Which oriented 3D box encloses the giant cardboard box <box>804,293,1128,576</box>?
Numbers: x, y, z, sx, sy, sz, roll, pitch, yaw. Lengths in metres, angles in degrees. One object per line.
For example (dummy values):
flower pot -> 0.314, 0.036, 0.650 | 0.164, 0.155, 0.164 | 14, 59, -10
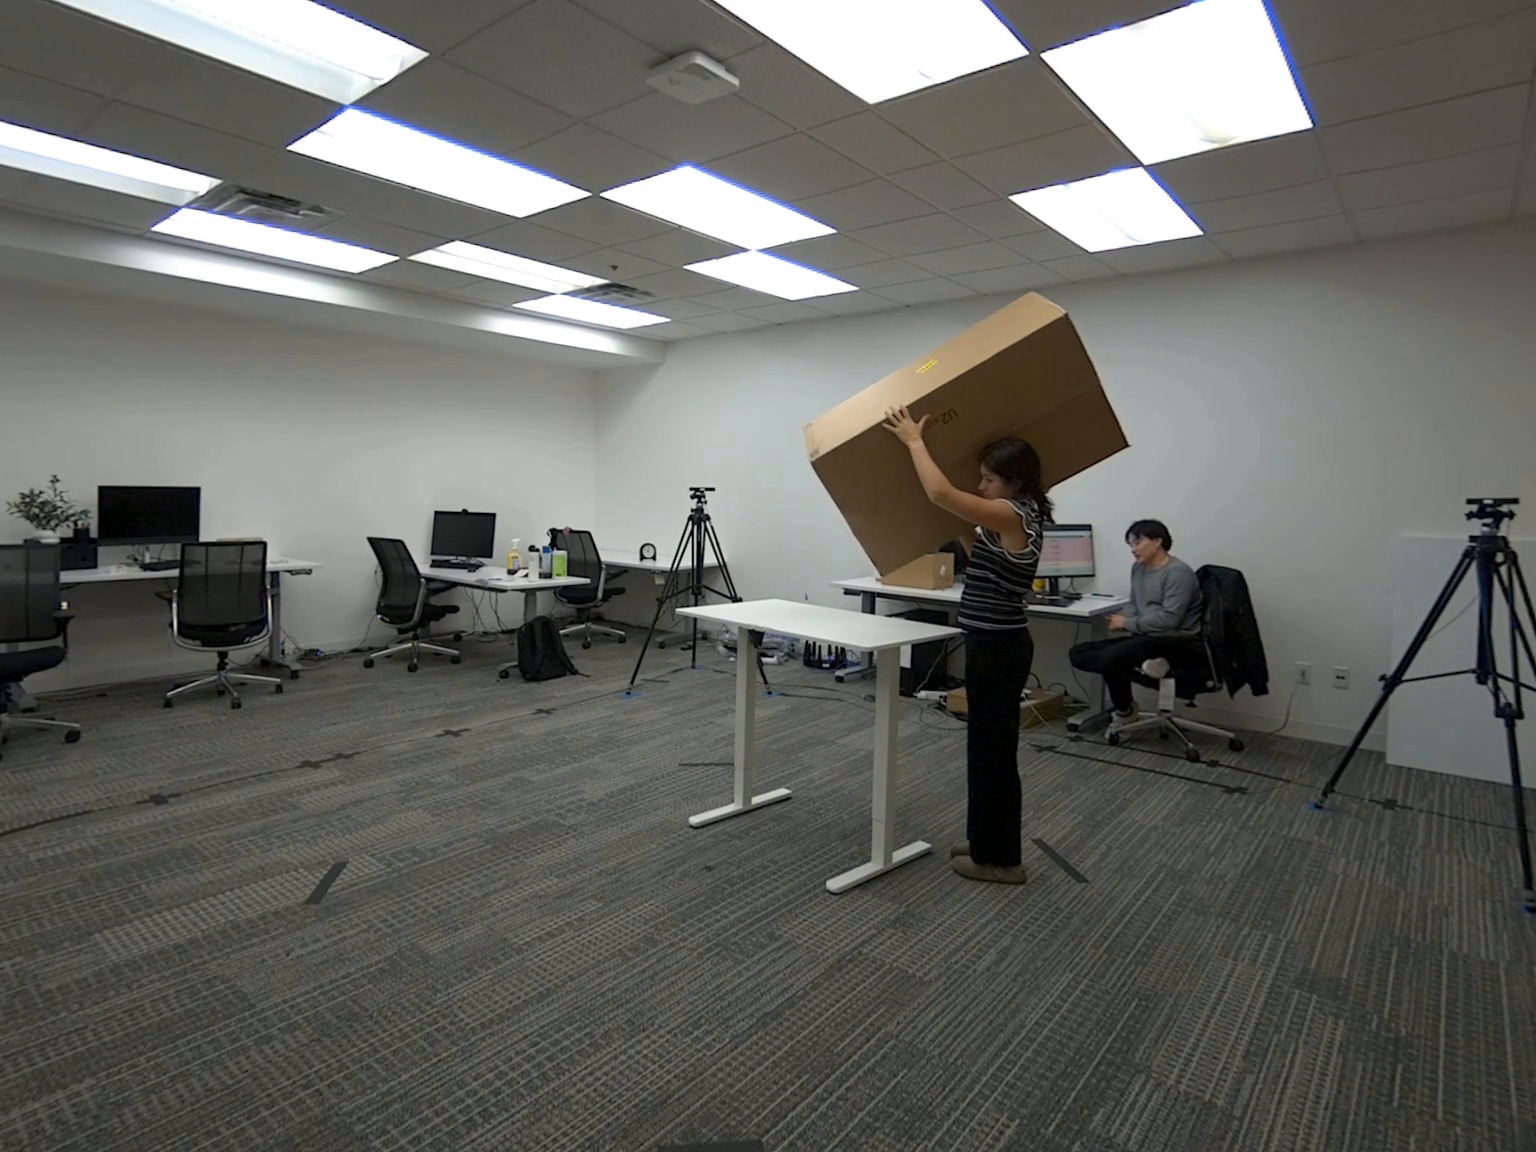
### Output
giant cardboard box -> 0.719, -0.546, 3.311 | 1.033, 0.561, 0.435 | -29, 23, 15
